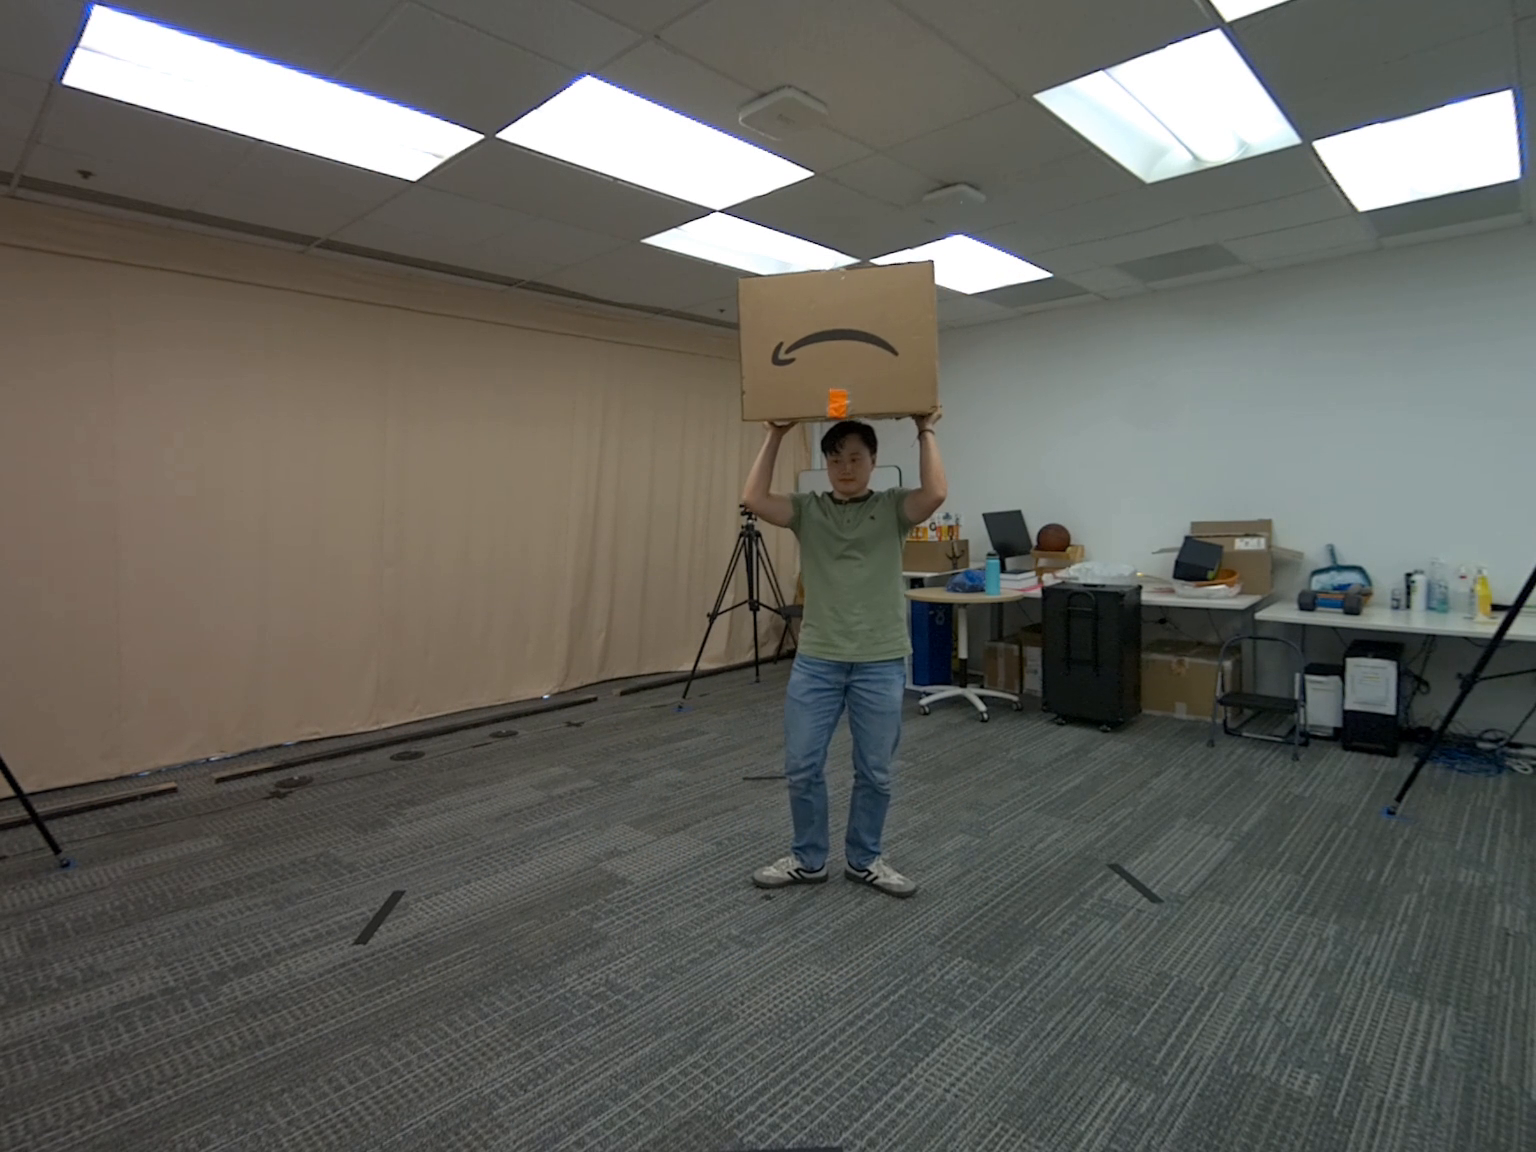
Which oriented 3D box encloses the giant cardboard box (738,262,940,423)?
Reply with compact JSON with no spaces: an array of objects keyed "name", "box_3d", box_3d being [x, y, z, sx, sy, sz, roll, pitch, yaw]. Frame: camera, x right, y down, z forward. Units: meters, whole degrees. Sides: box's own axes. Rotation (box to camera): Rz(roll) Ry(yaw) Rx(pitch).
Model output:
[{"name":"giant cardboard box","box_3d":[0.286,-0.761,2.932,0.586,0.423,1.018,-1,10,12]}]
